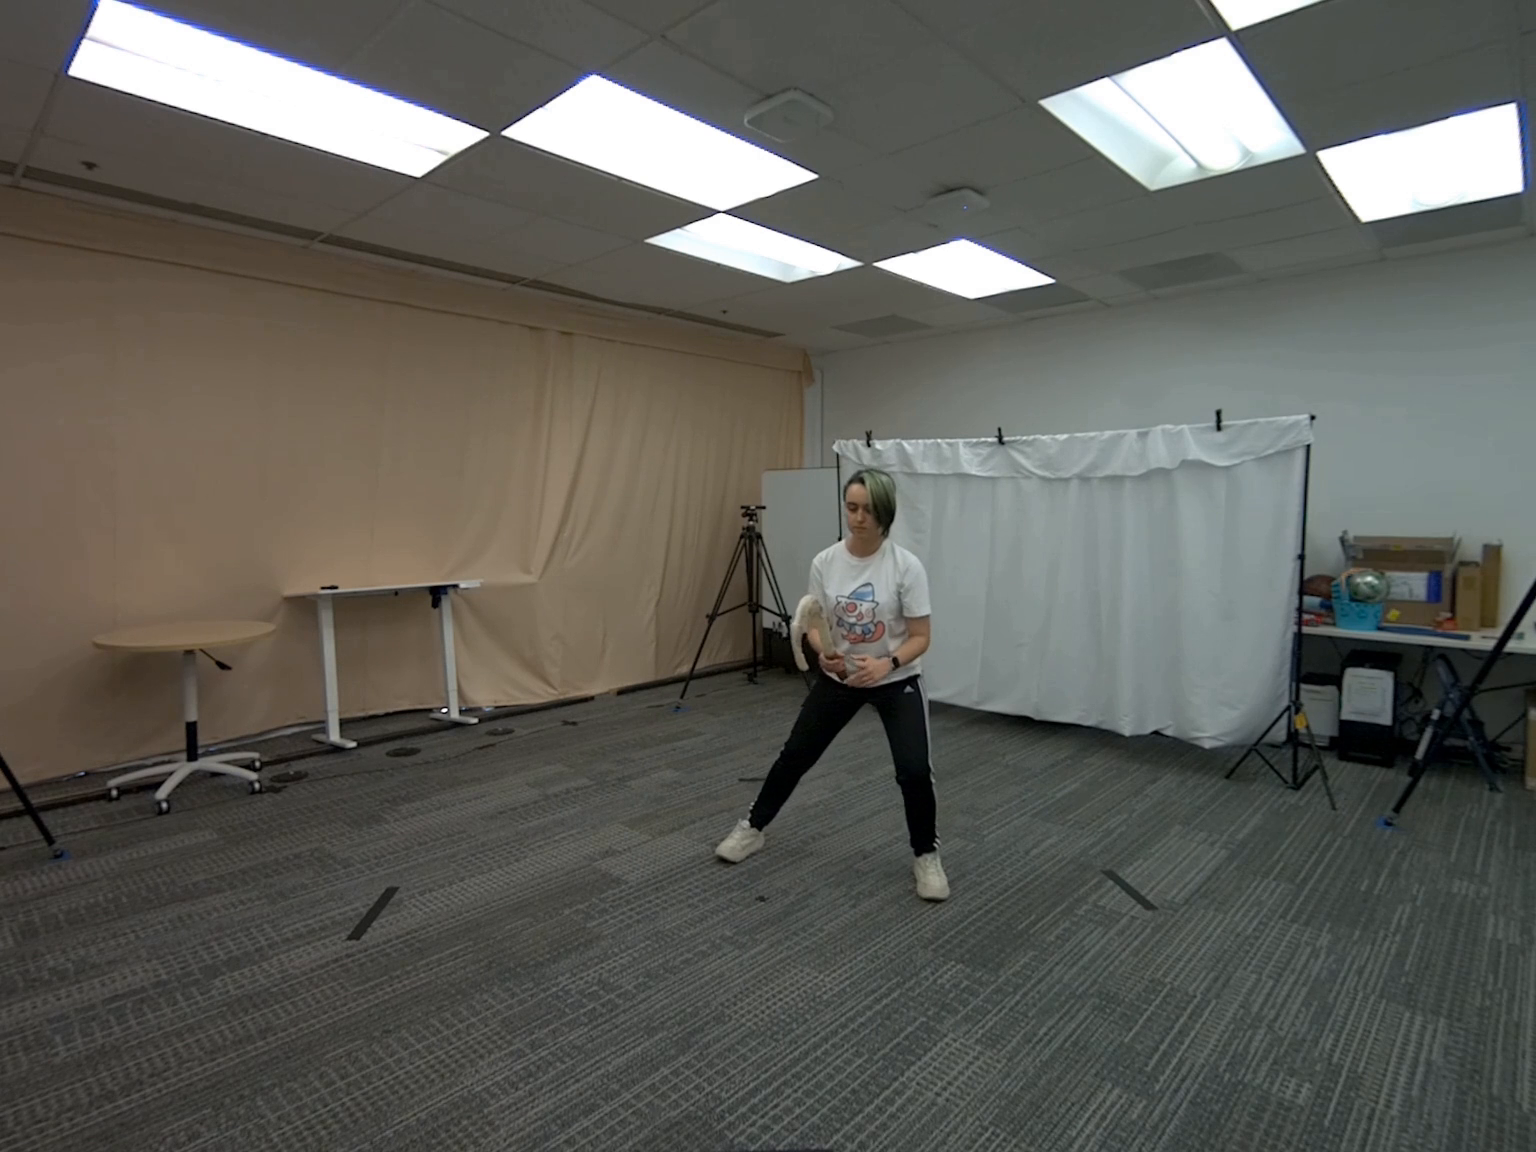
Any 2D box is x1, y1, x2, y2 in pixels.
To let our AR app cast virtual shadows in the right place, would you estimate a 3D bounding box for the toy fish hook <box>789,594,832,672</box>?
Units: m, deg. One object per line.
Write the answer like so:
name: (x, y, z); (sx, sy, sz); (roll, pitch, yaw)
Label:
toy fish hook: (0.166, 0.260, 2.766); (0.050, 0.225, 0.490); (7, -35, 30)
